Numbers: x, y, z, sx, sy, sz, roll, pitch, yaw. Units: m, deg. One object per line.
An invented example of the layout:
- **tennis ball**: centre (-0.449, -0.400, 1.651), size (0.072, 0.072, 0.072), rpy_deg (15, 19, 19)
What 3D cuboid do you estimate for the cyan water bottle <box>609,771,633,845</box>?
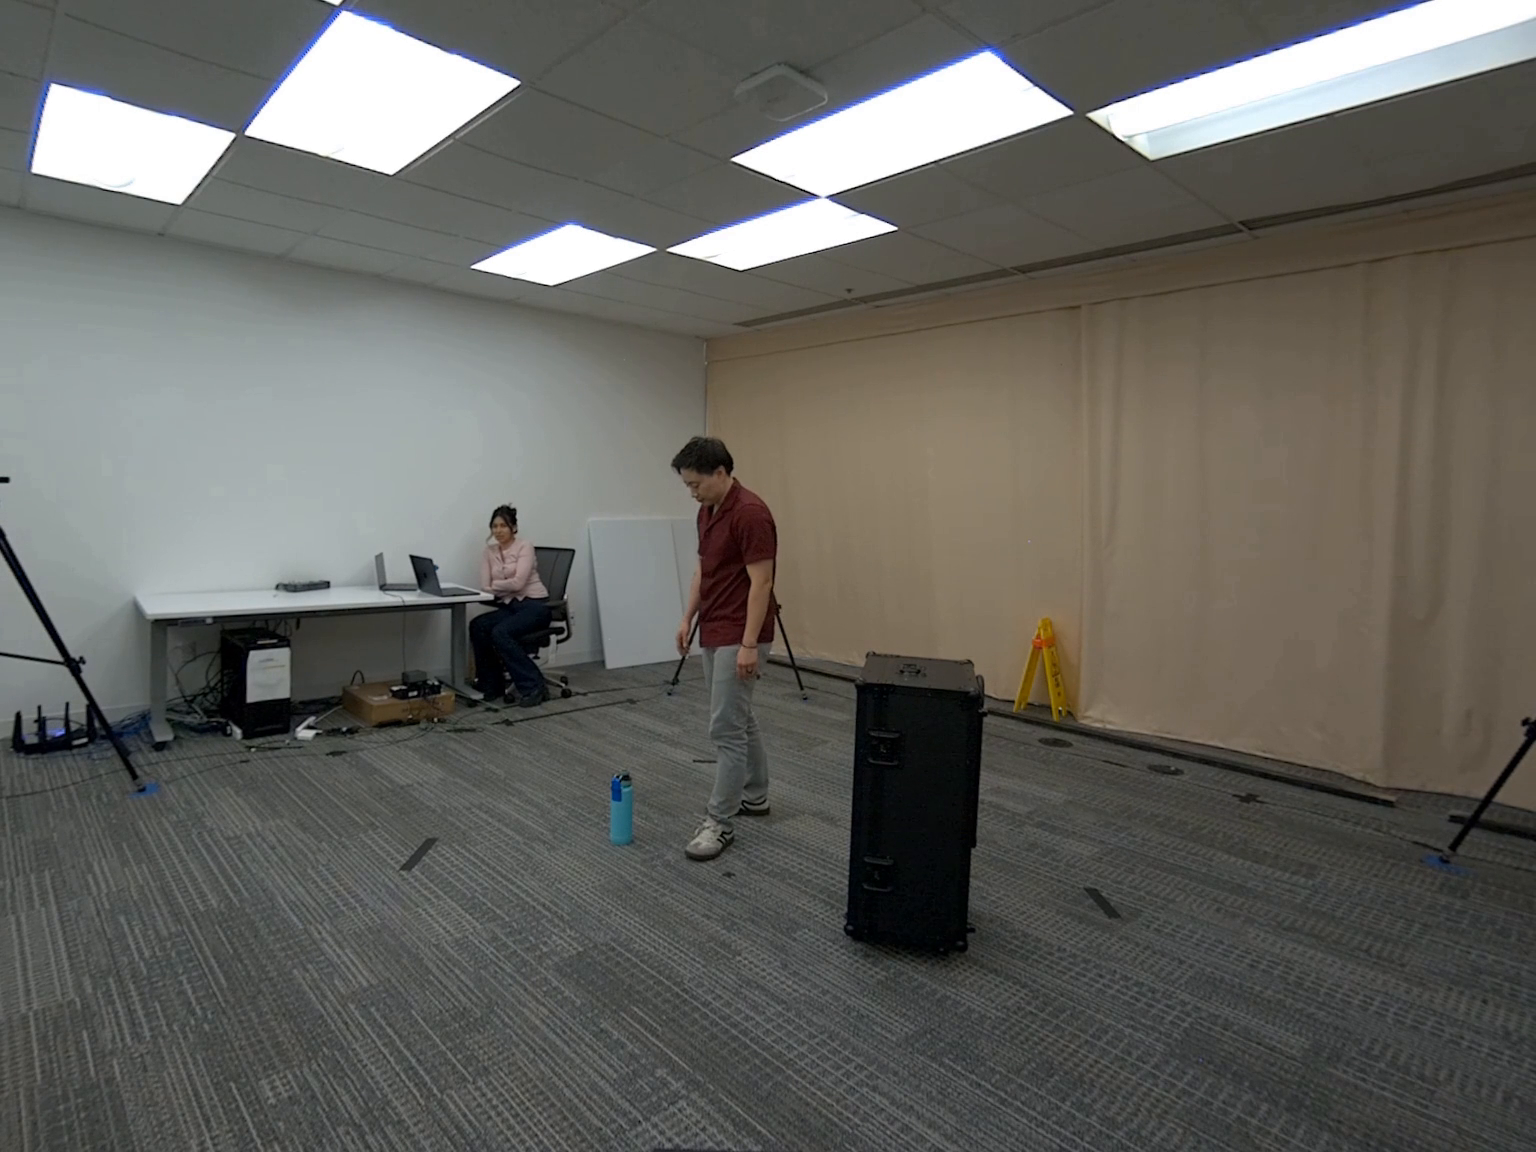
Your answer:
- **cyan water bottle**: centre (-0.595, 0.927, 3.377), size (0.092, 0.282, 0.092), rpy_deg (2, 4, -2)
